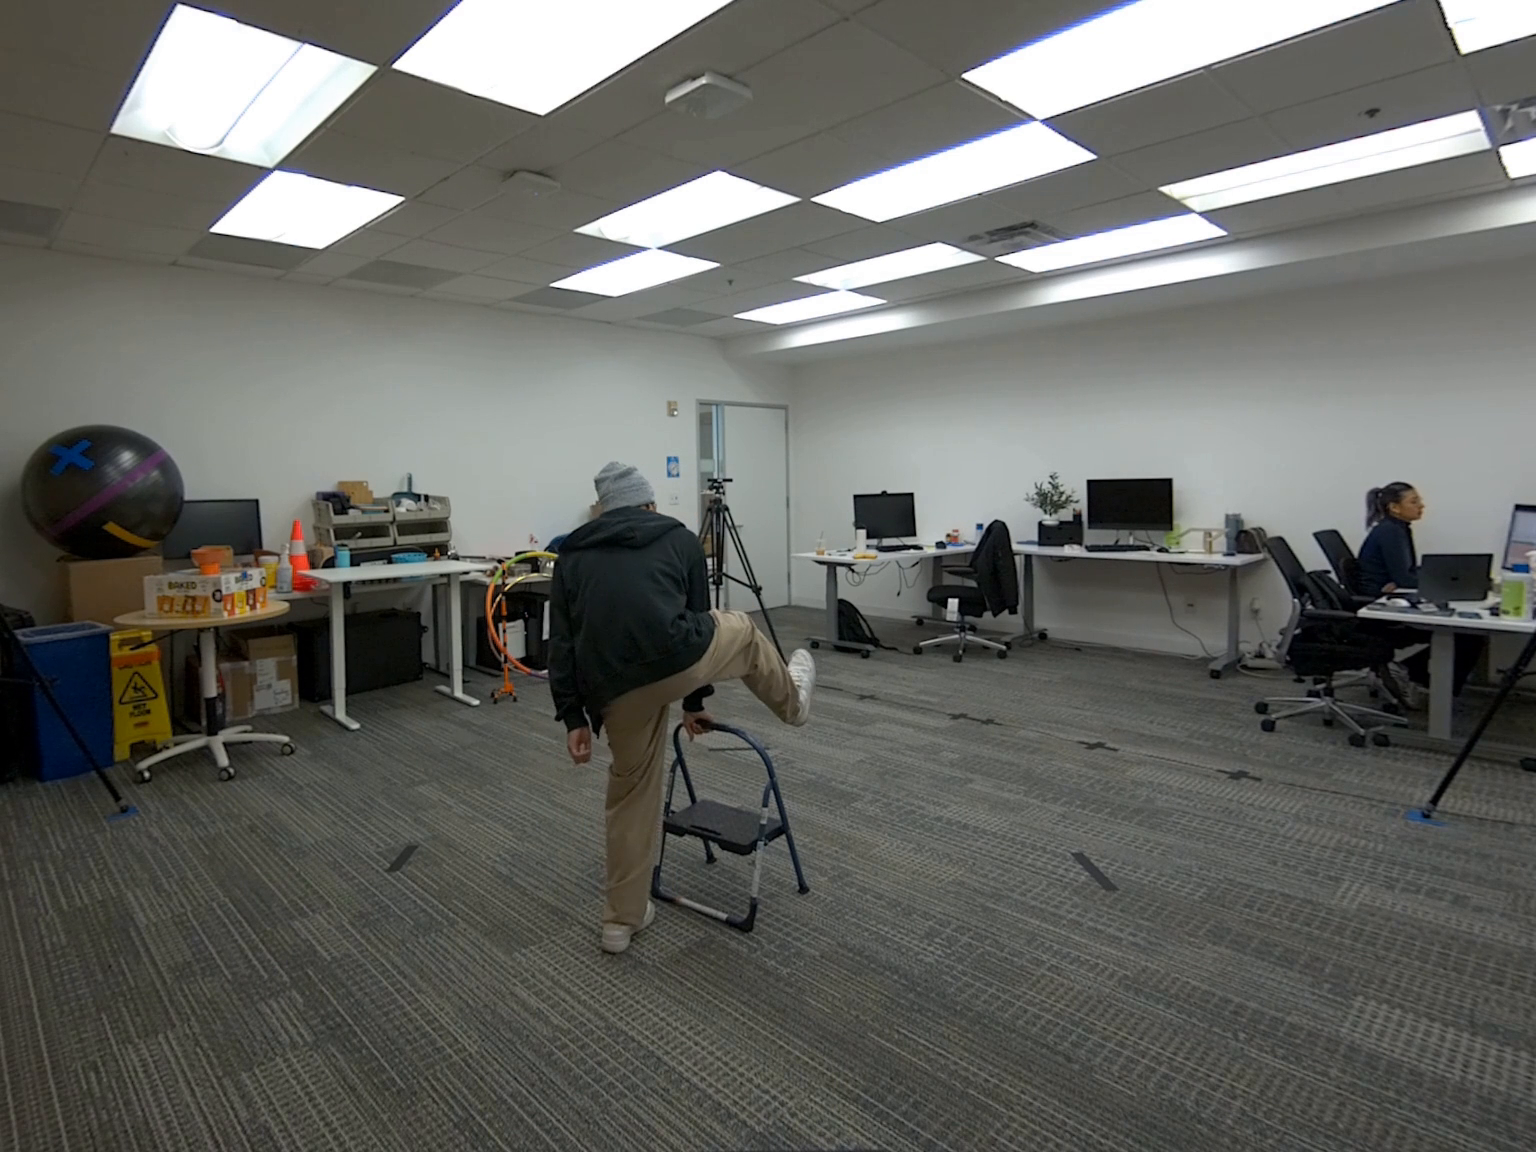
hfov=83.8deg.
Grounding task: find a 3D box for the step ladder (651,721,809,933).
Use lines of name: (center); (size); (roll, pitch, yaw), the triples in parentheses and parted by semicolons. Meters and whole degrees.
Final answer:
step ladder: (-0.132, 0.771, 2.867); (0.443, 0.604, 0.340); (2, 5, 35)
